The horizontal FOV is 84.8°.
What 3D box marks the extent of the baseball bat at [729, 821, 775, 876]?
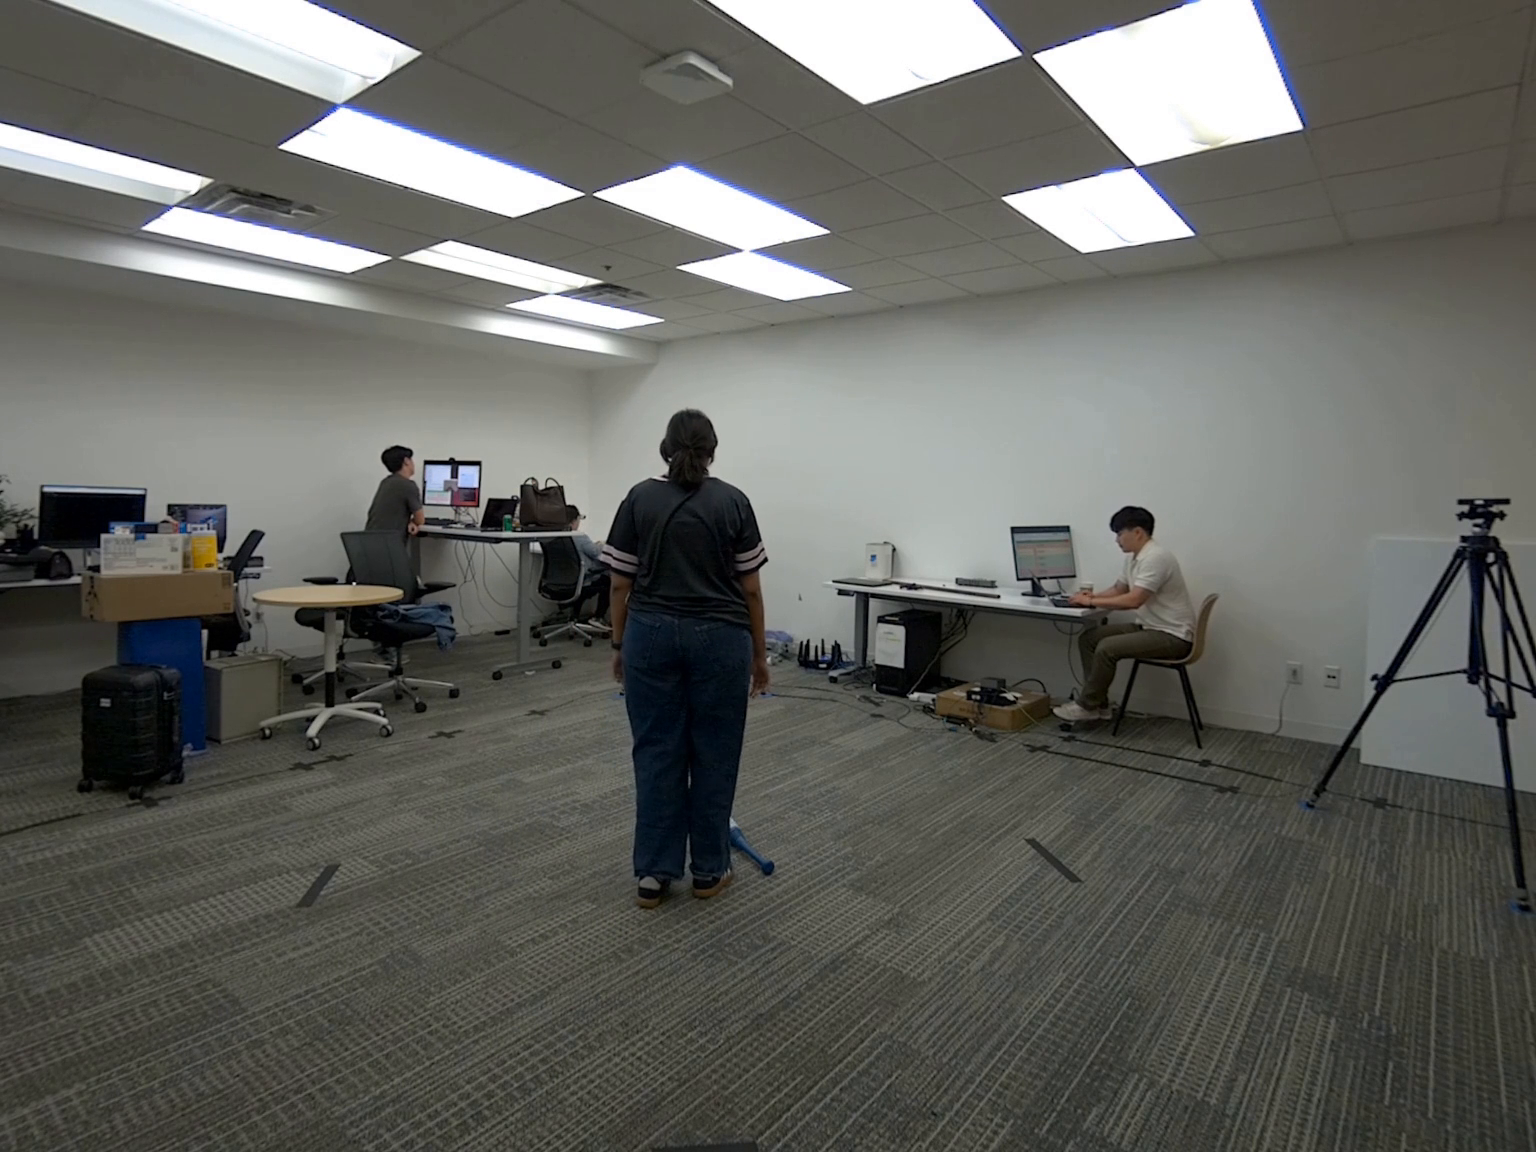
[{"bbox_3d":[-0.120,1.011,3.324,0.087,0.088,0.560,-1,10,-28],"label":"baseball bat"}]
